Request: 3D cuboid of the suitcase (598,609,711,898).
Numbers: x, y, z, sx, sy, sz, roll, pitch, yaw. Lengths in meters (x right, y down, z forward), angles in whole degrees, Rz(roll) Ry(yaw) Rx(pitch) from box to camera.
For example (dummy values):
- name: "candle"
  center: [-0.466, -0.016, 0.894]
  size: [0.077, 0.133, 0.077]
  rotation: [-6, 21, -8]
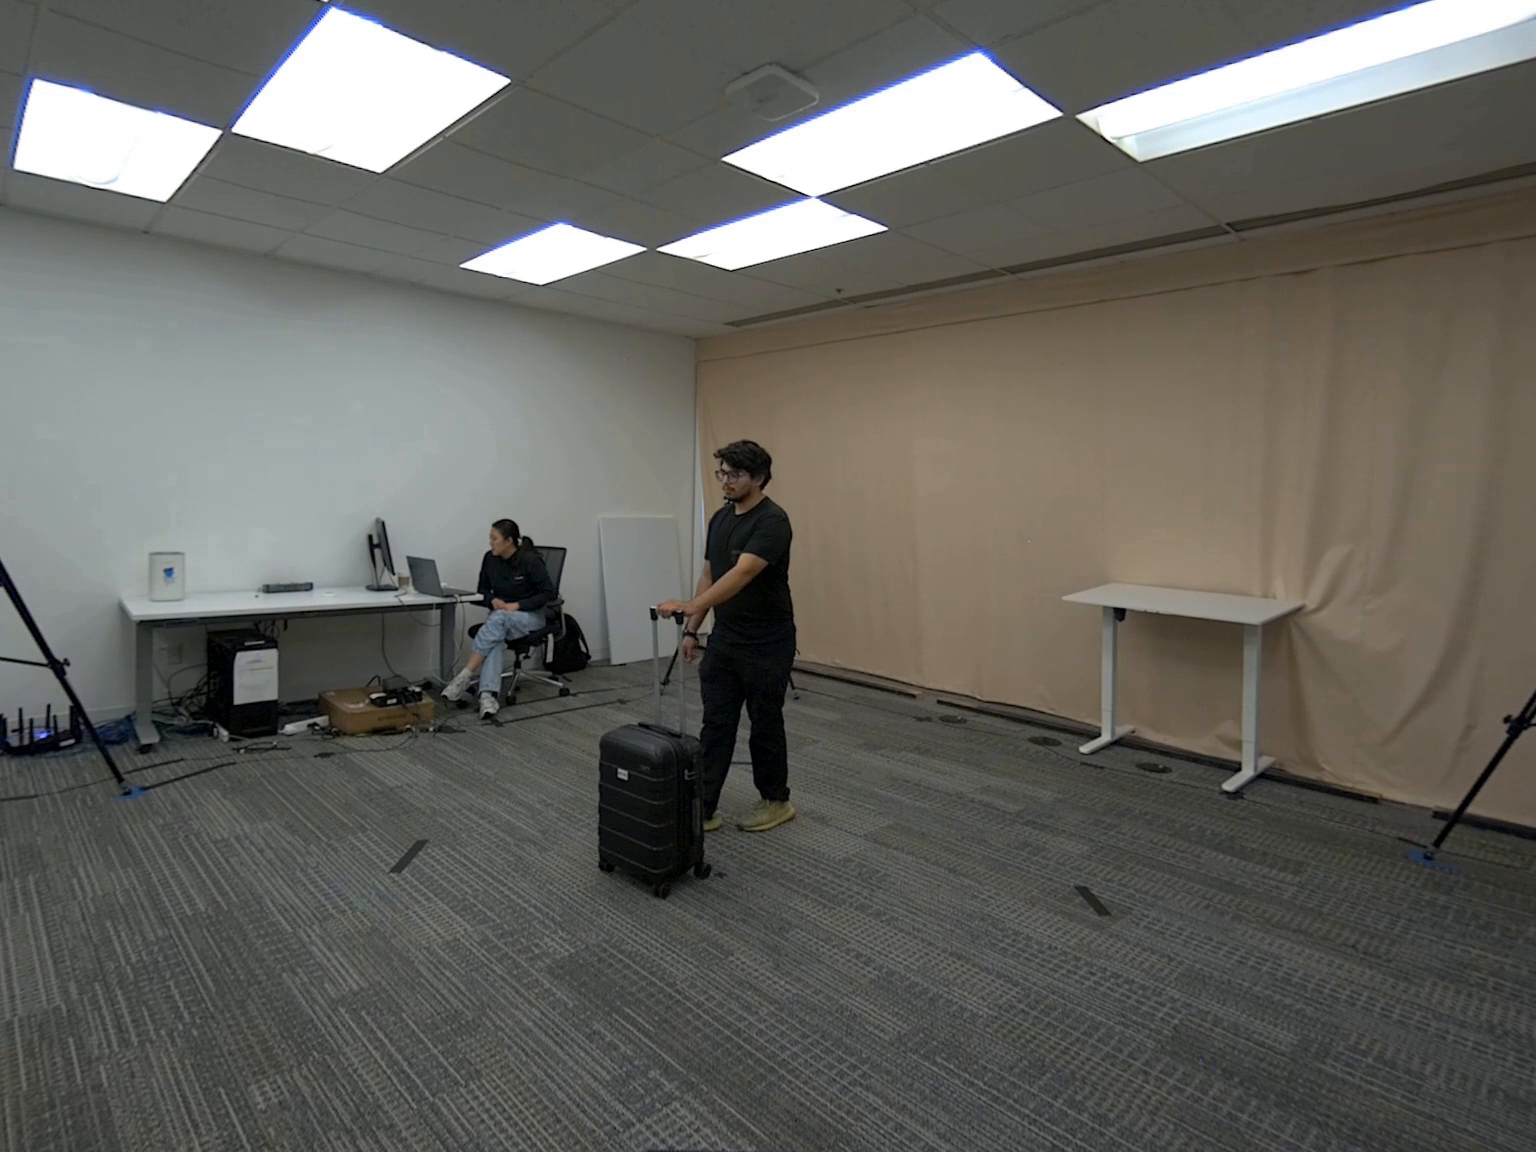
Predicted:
- name: "suitcase"
  center: [-0.437, 0.628, 3.039]
  size: [0.394, 0.973, 0.252]
  rotation: [5, 9, 39]
